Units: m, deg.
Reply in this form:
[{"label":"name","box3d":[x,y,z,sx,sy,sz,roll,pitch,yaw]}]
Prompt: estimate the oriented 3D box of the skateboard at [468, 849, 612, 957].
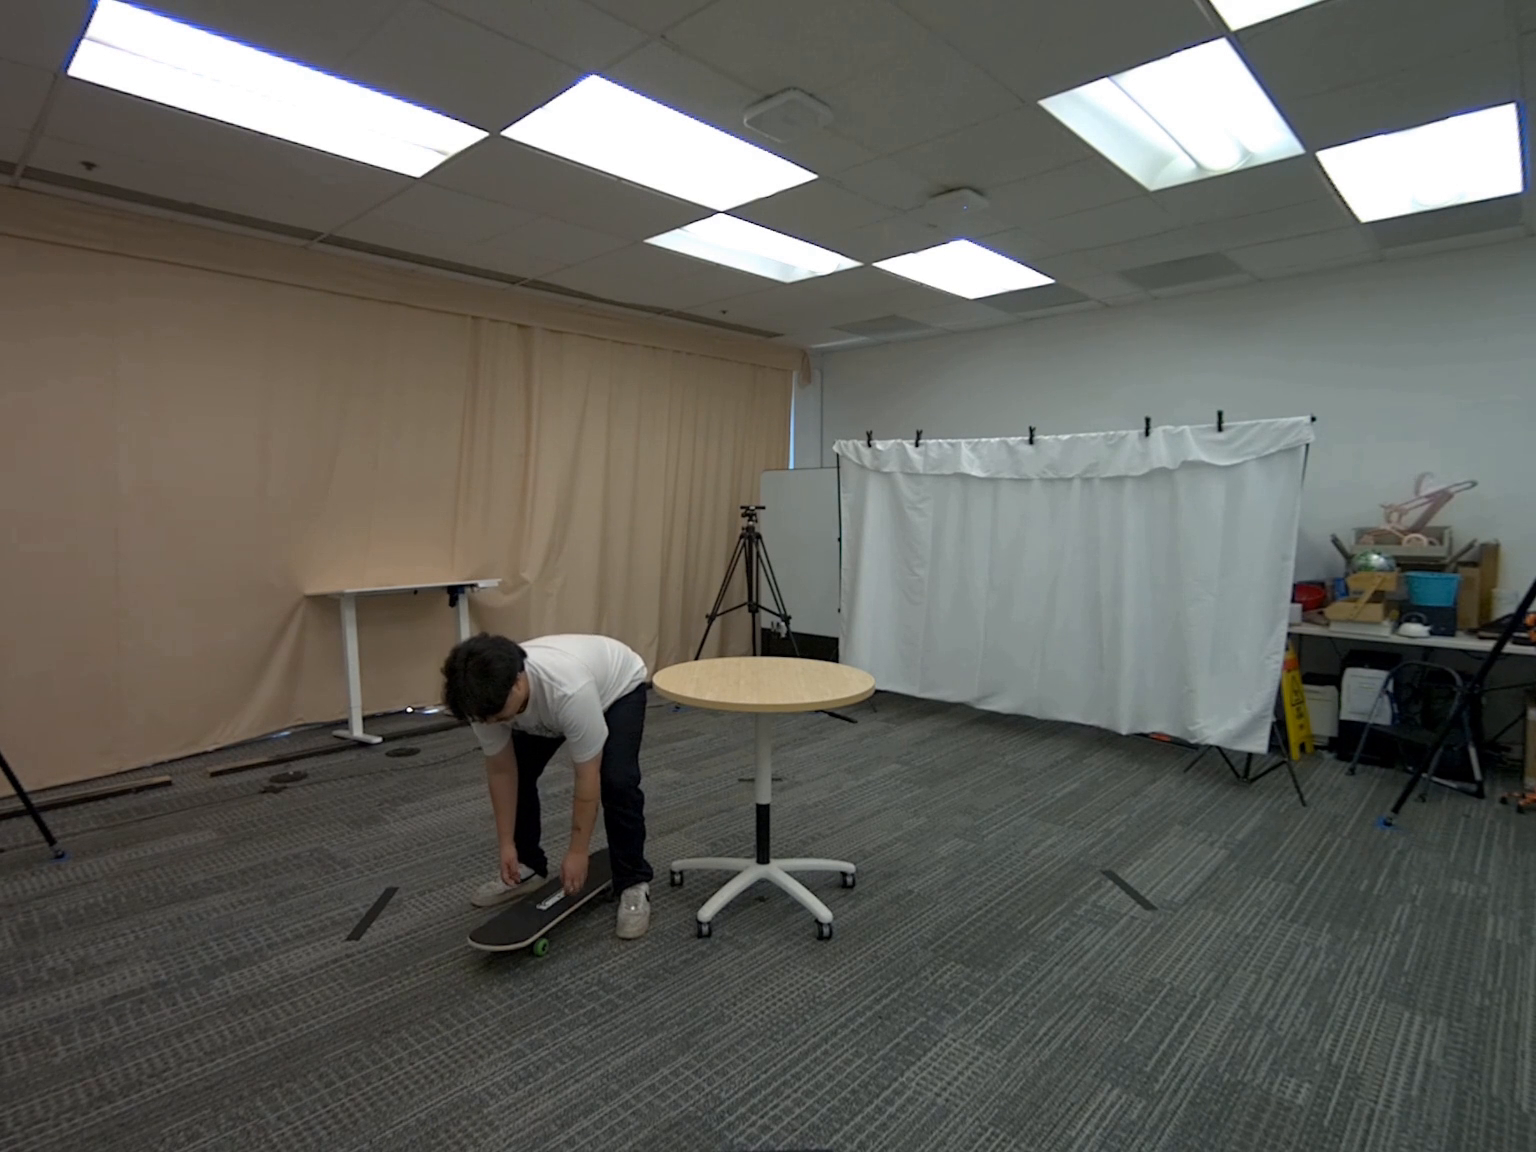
[{"label":"skateboard","box3d":[-0.706,1.108,2.825,0.198,0.110,0.768,2,5,22]}]
